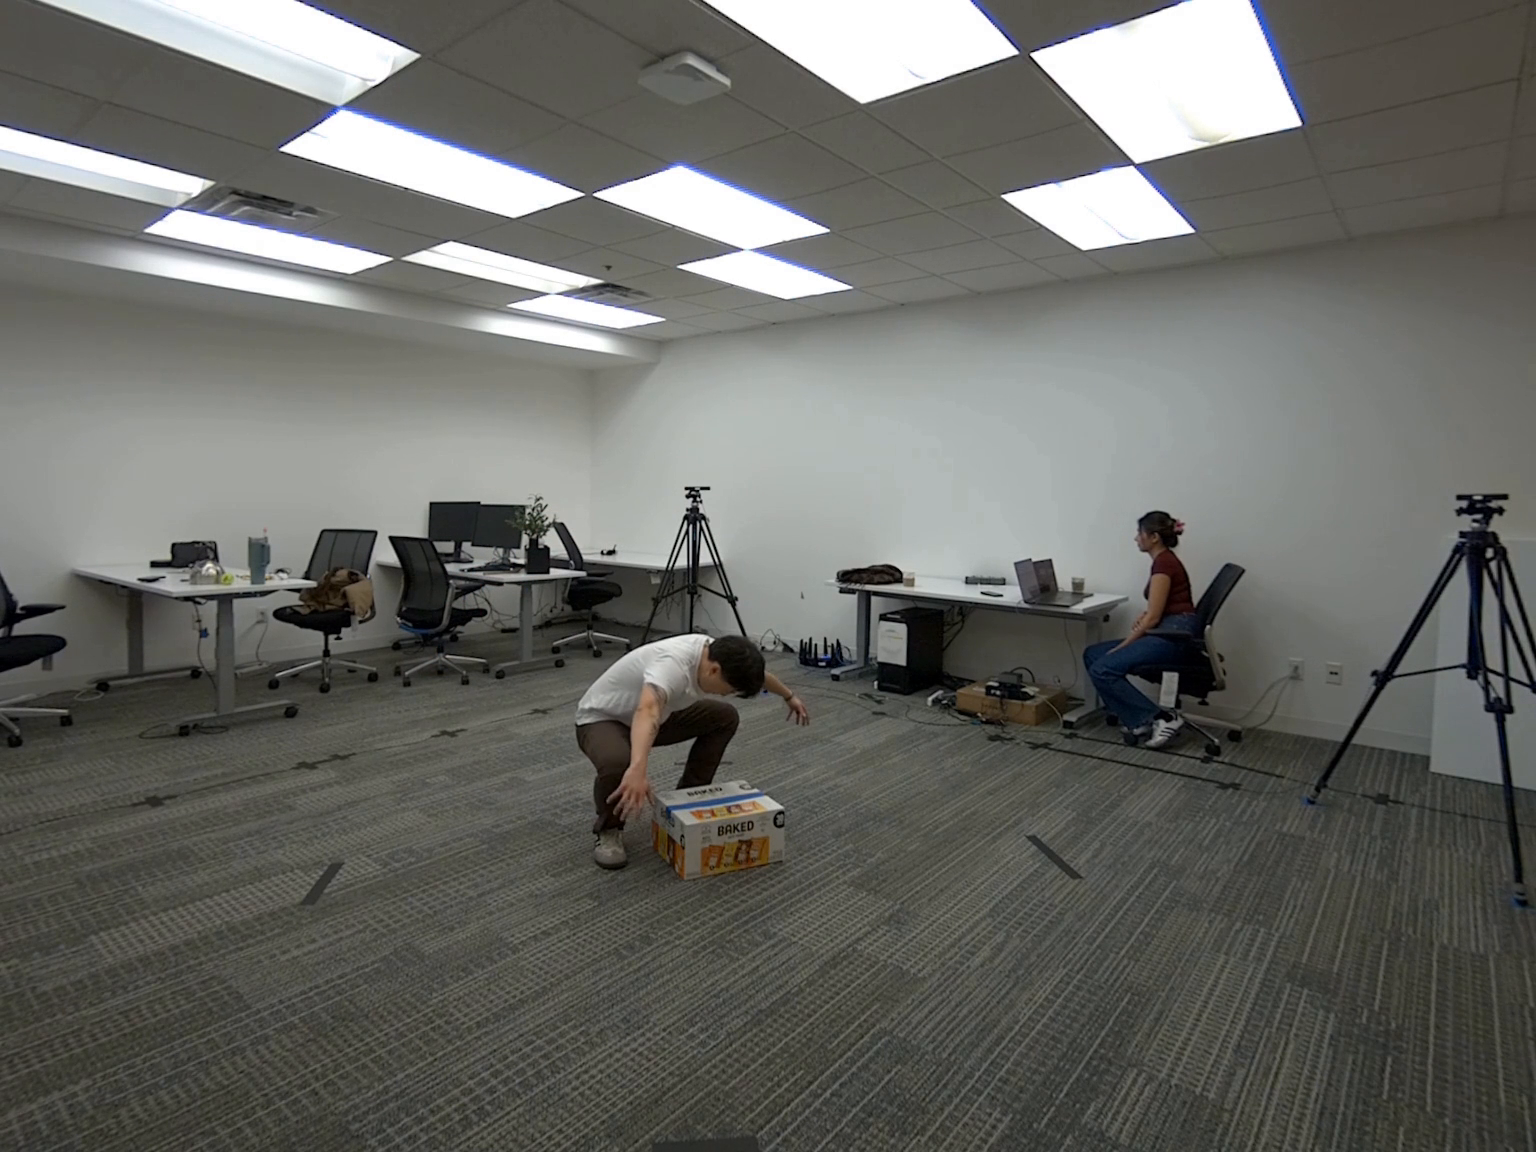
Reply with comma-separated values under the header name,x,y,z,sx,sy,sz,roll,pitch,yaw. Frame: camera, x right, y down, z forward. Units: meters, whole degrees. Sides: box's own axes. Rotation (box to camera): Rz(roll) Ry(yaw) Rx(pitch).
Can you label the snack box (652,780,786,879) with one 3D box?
name,x,y,z,sx,sy,sz,roll,pitch,yaw
snack box,-0.205,0.954,3.229,0.395,0.205,0.350,-2,6,-26
